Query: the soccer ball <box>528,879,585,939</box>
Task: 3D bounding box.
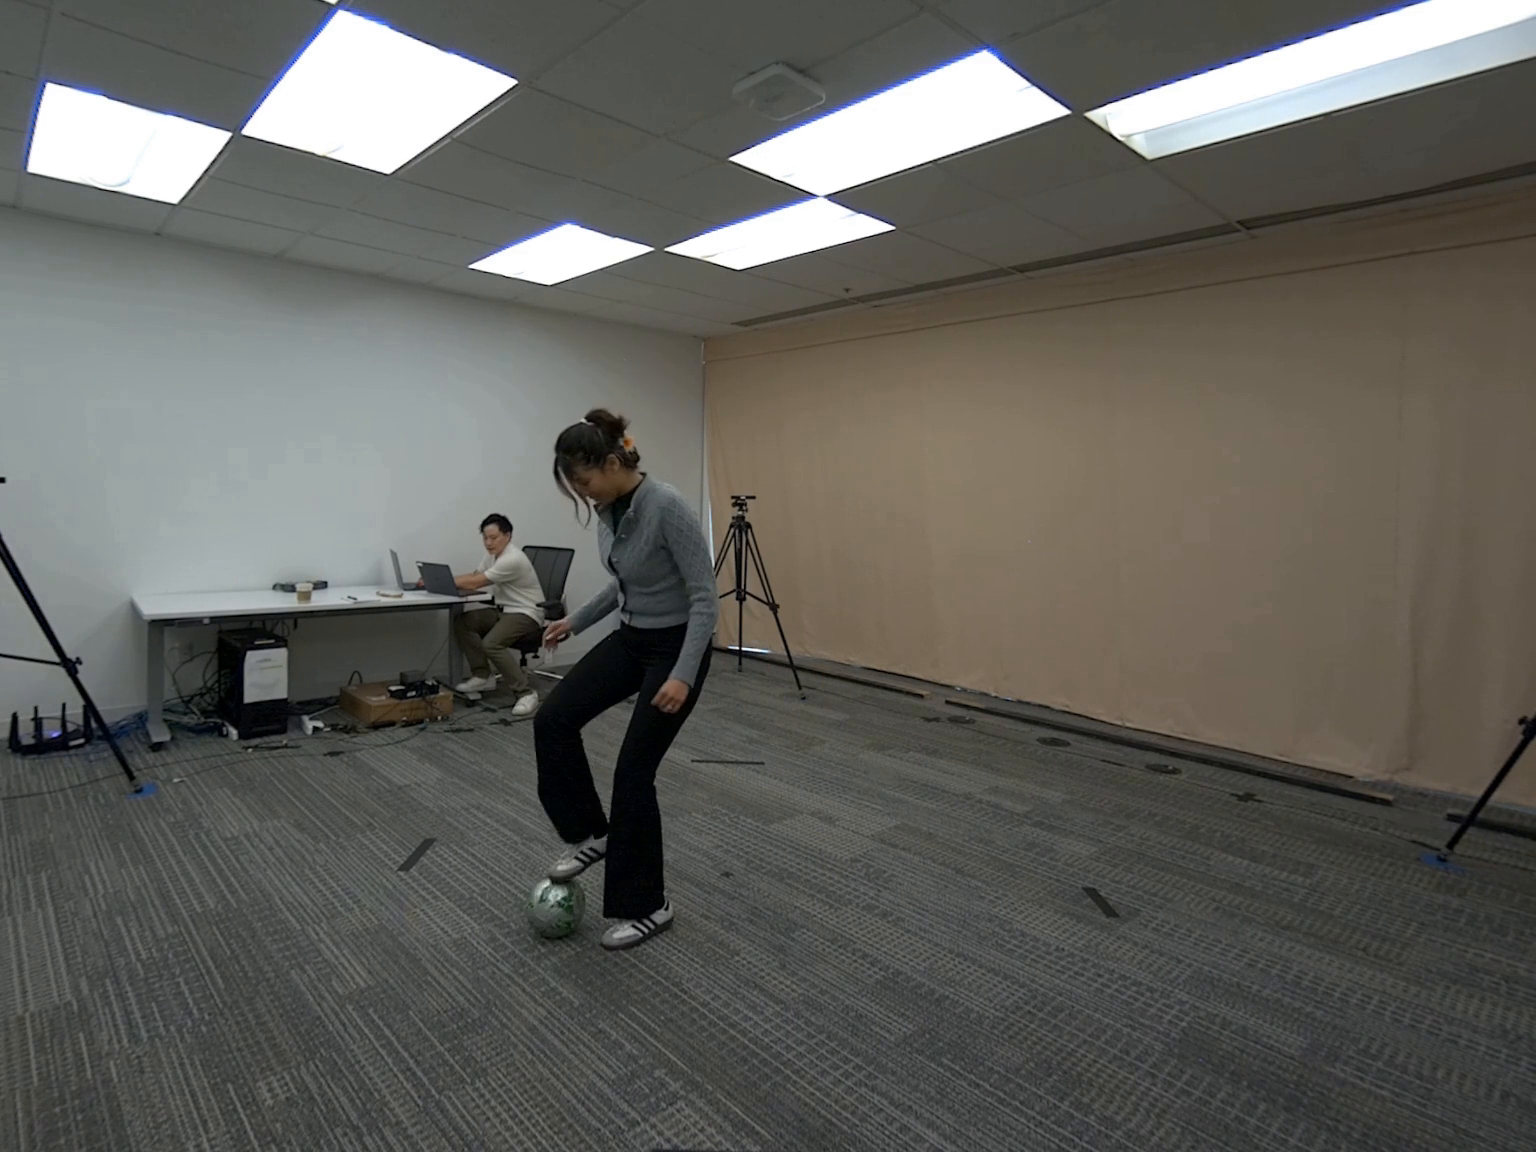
[{"bbox_3d":[-0.675,1.037,2.659,0.187,0.187,0.188,1,4,-1],"label":"soccer ball"}]
